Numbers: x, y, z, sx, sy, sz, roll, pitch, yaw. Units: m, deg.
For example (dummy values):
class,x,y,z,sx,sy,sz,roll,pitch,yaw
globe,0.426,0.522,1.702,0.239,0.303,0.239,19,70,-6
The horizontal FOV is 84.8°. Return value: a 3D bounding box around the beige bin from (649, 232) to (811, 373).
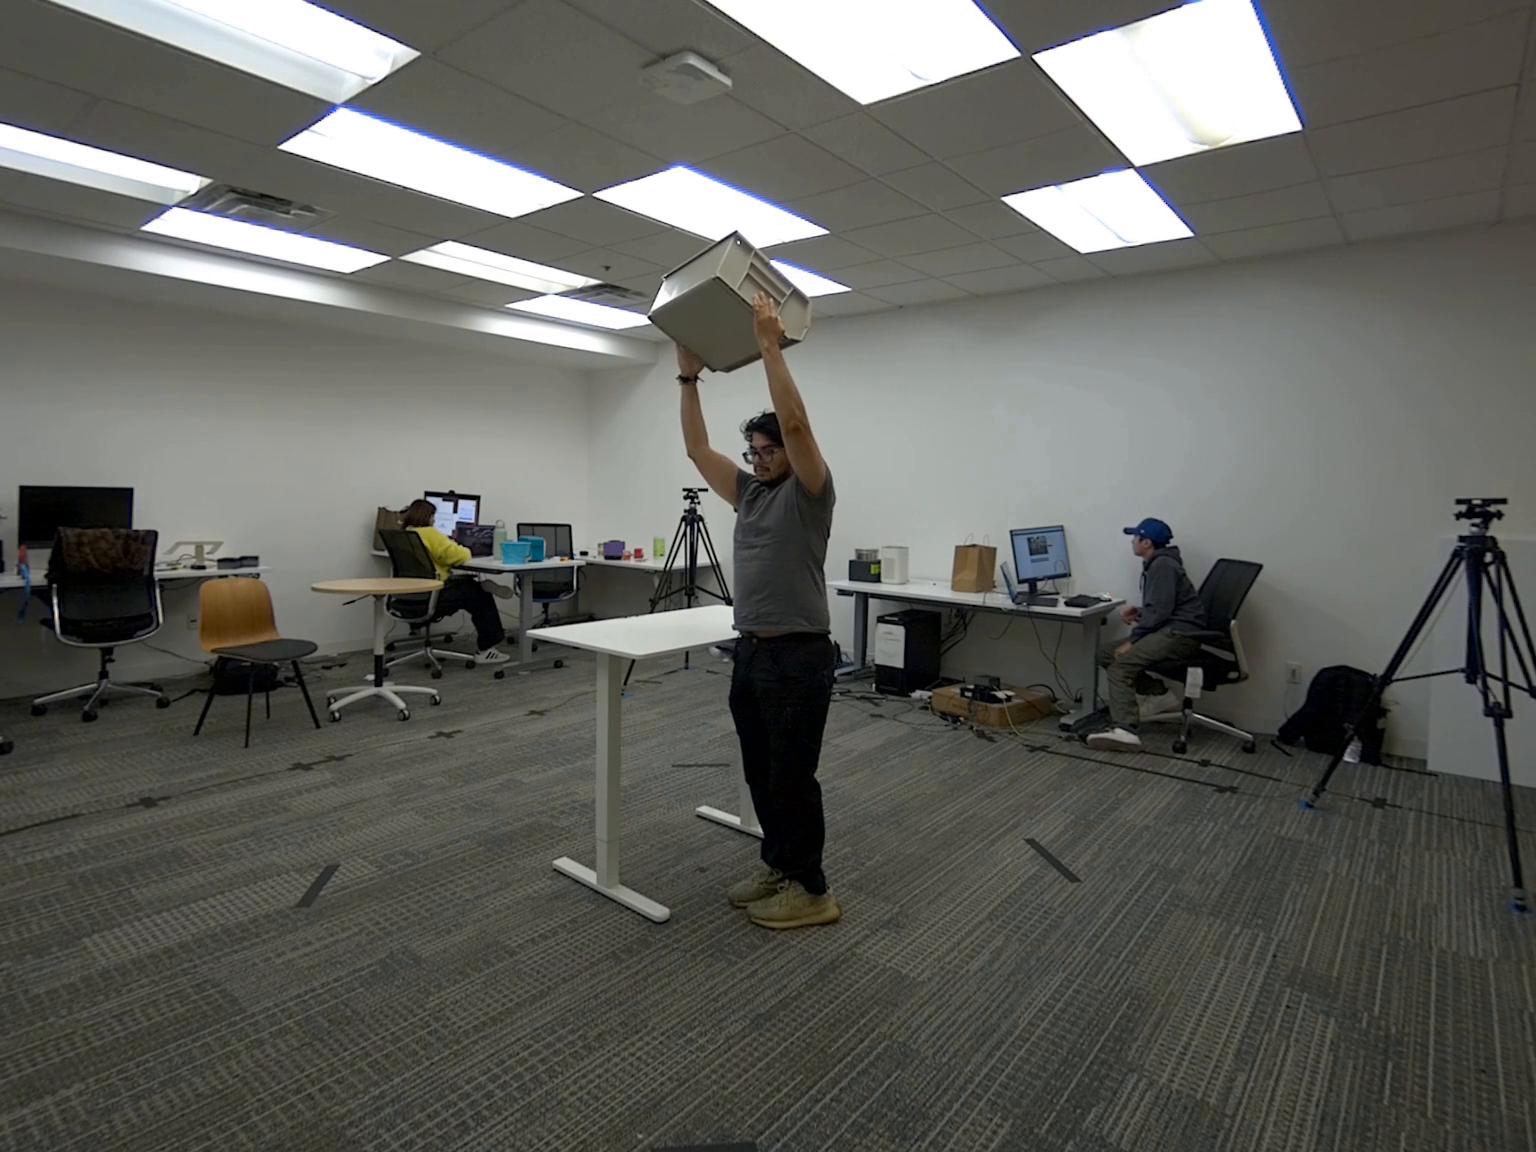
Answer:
class,x,y,z,sx,sy,sz,roll,pitch,yaw
beige bin,-0.139,-0.868,2.797,0.364,0.191,0.434,35,-24,-30
